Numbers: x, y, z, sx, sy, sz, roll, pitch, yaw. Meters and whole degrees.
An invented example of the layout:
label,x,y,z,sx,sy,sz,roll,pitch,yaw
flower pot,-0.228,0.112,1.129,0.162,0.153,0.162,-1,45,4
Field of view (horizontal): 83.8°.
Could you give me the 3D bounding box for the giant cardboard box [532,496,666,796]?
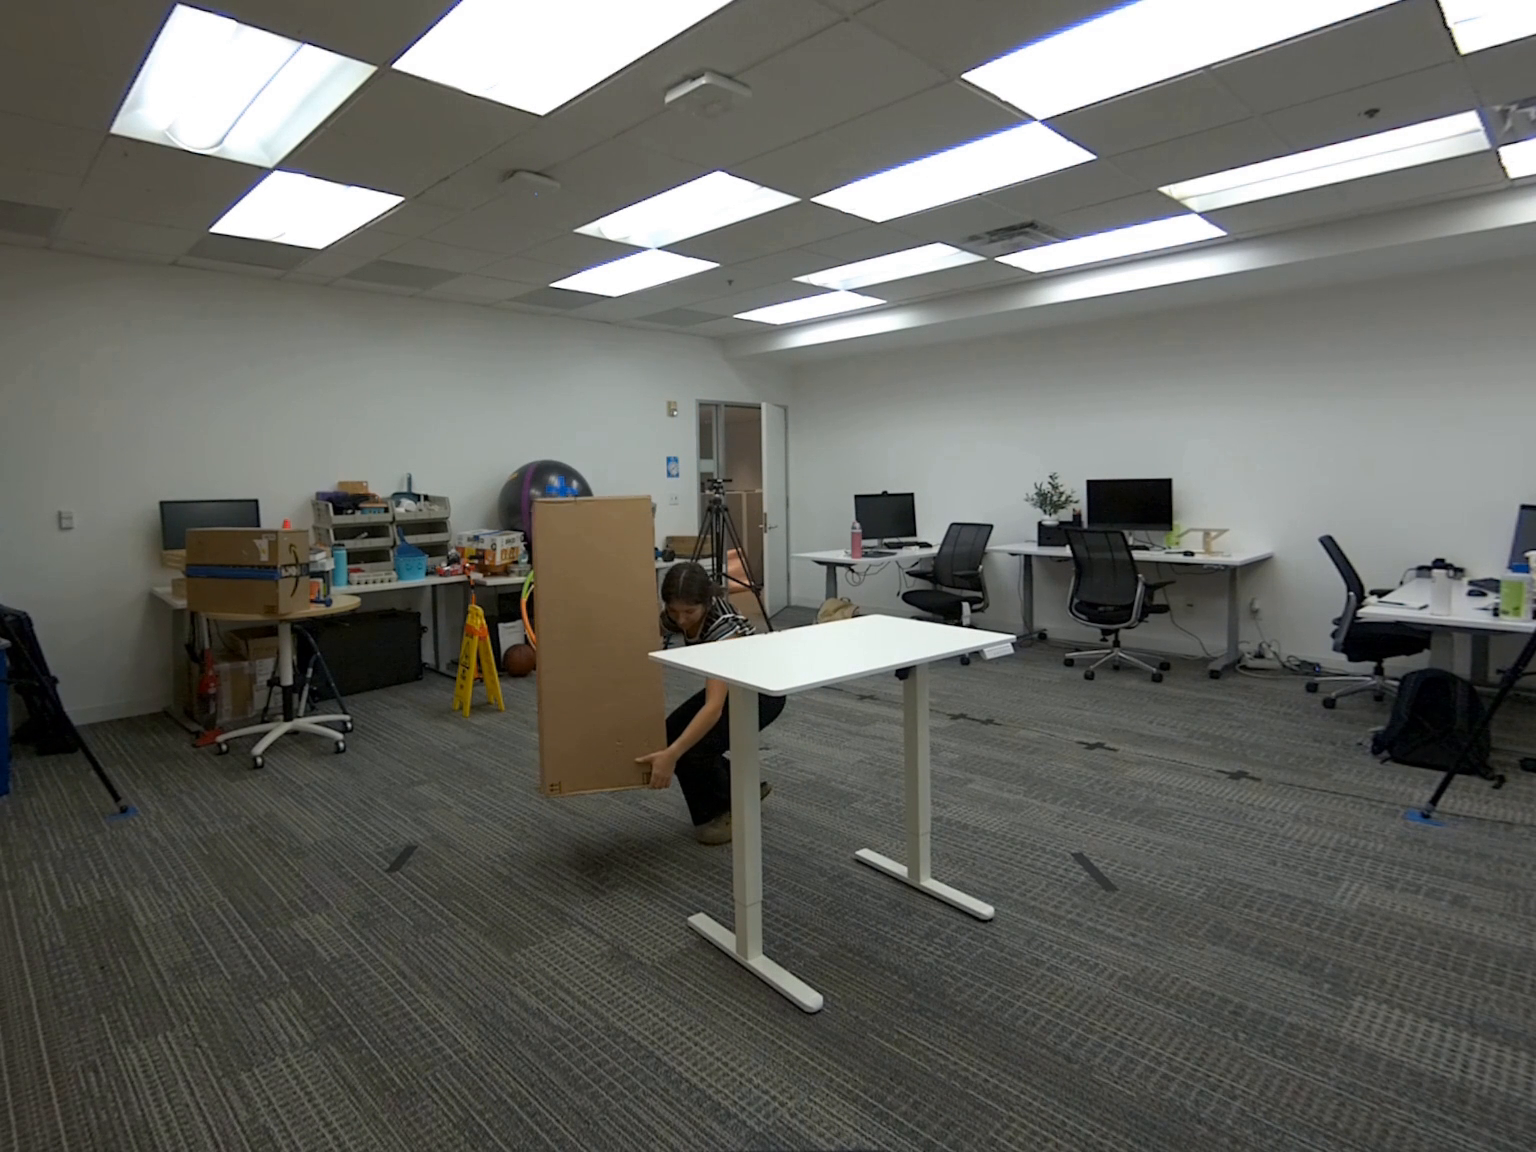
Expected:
label,x,y,z,sx,sy,sz,roll,pitch,yaw
giant cardboard box,-0.650,0.264,3.232,0.421,1.037,0.578,-2,-11,-13
